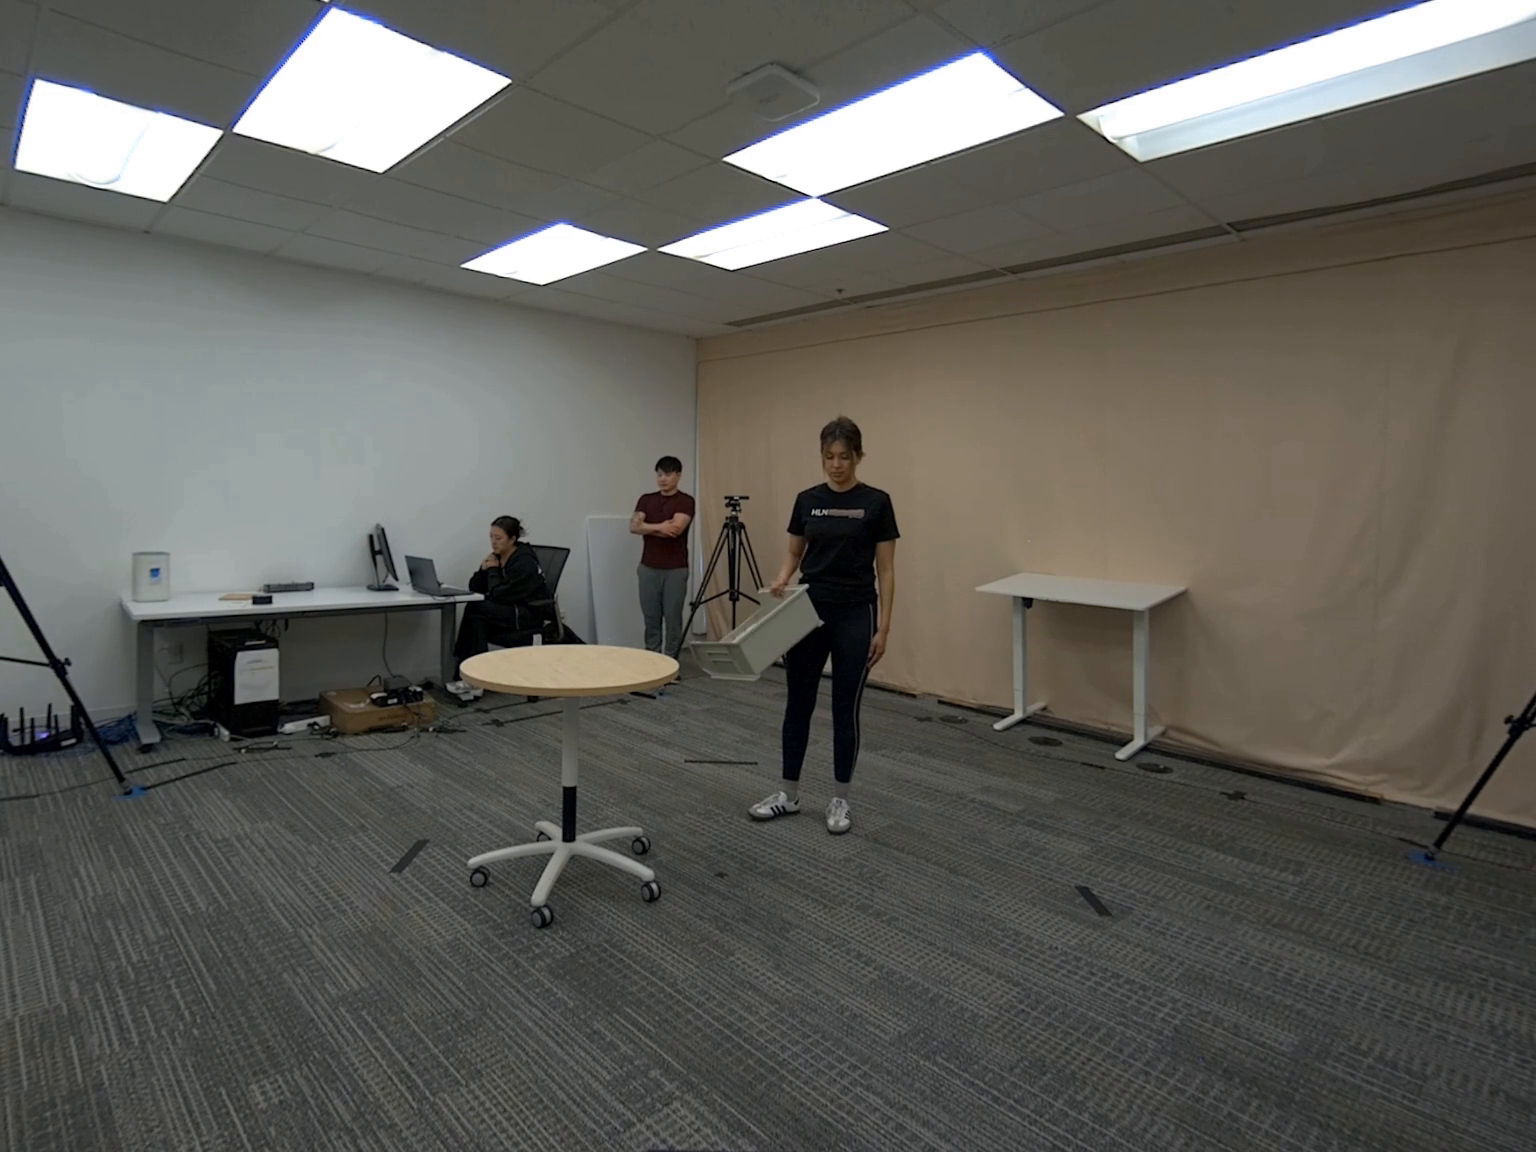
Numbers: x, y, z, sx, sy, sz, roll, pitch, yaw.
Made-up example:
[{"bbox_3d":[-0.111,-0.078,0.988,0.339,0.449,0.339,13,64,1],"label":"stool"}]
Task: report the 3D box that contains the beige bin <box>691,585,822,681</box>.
[{"bbox_3d":[-0.063,0.229,3.422,0.420,0.186,0.385,-36,18,-31],"label":"beige bin"}]
